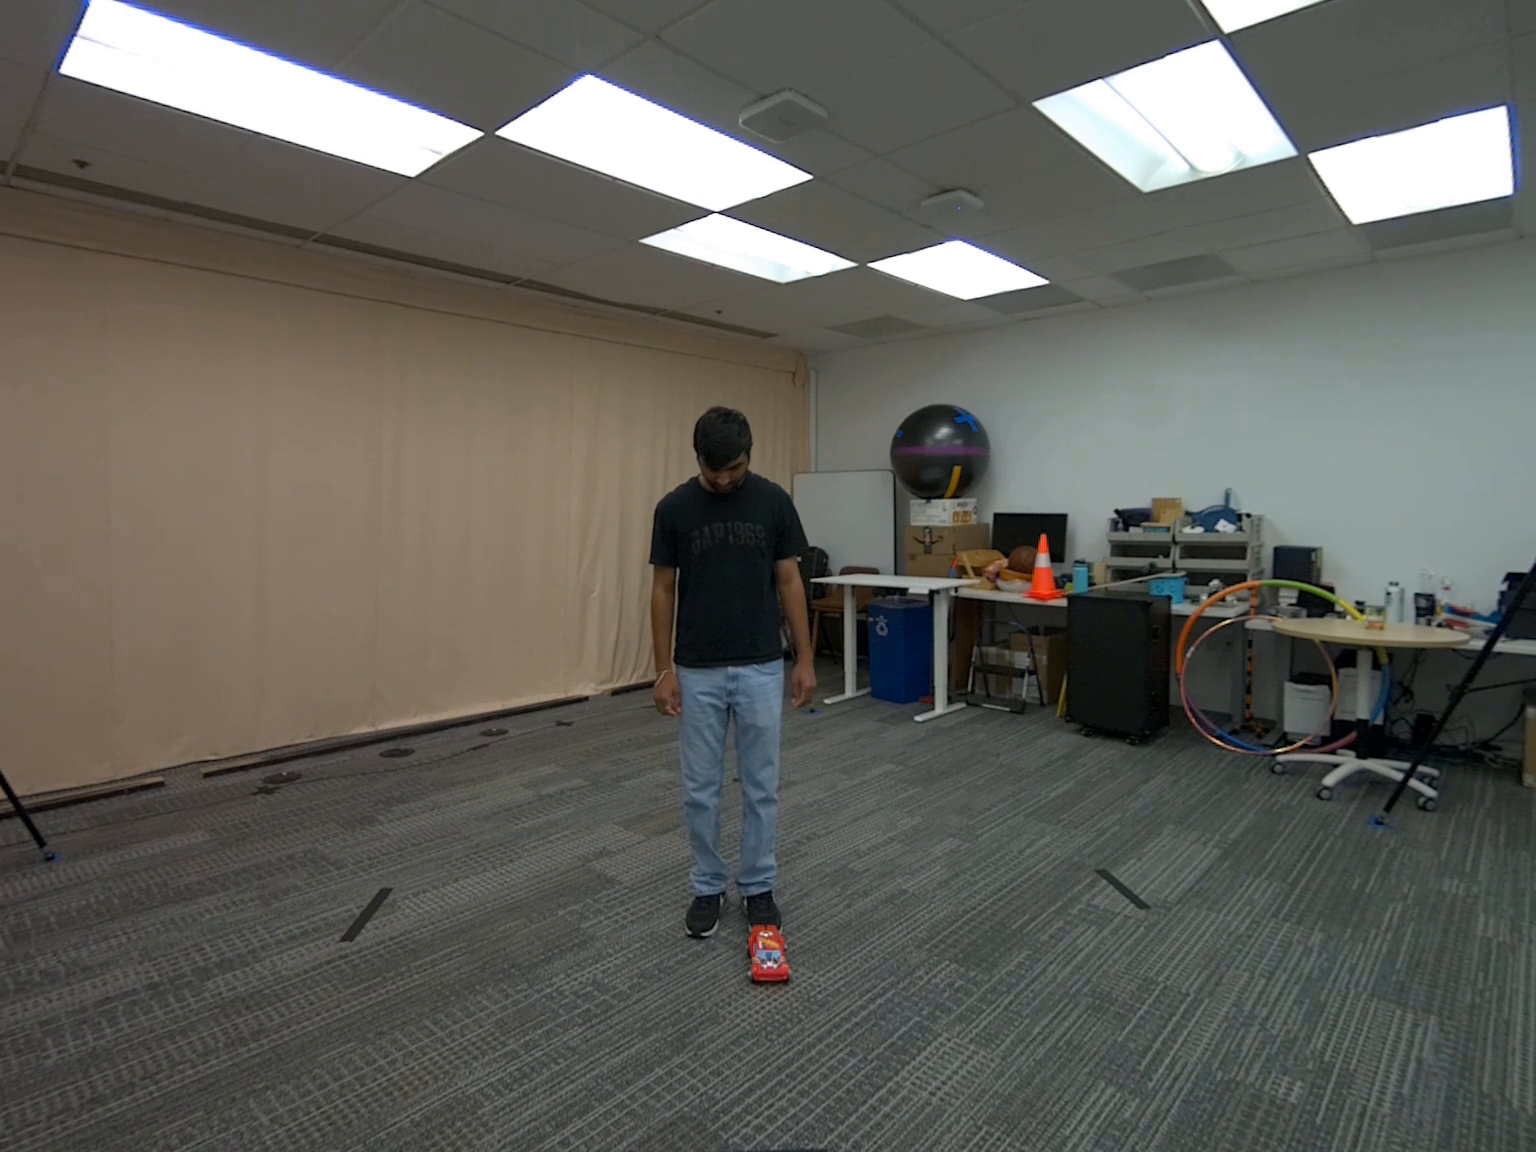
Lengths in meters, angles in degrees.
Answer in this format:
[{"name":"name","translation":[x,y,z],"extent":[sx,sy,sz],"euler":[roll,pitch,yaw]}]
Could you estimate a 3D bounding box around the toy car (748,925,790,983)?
[{"name":"toy car","translation":[-0.001,1.142,2.557],"extent":[0.130,0.082,0.257],"euler":[-1,15,-2]}]
